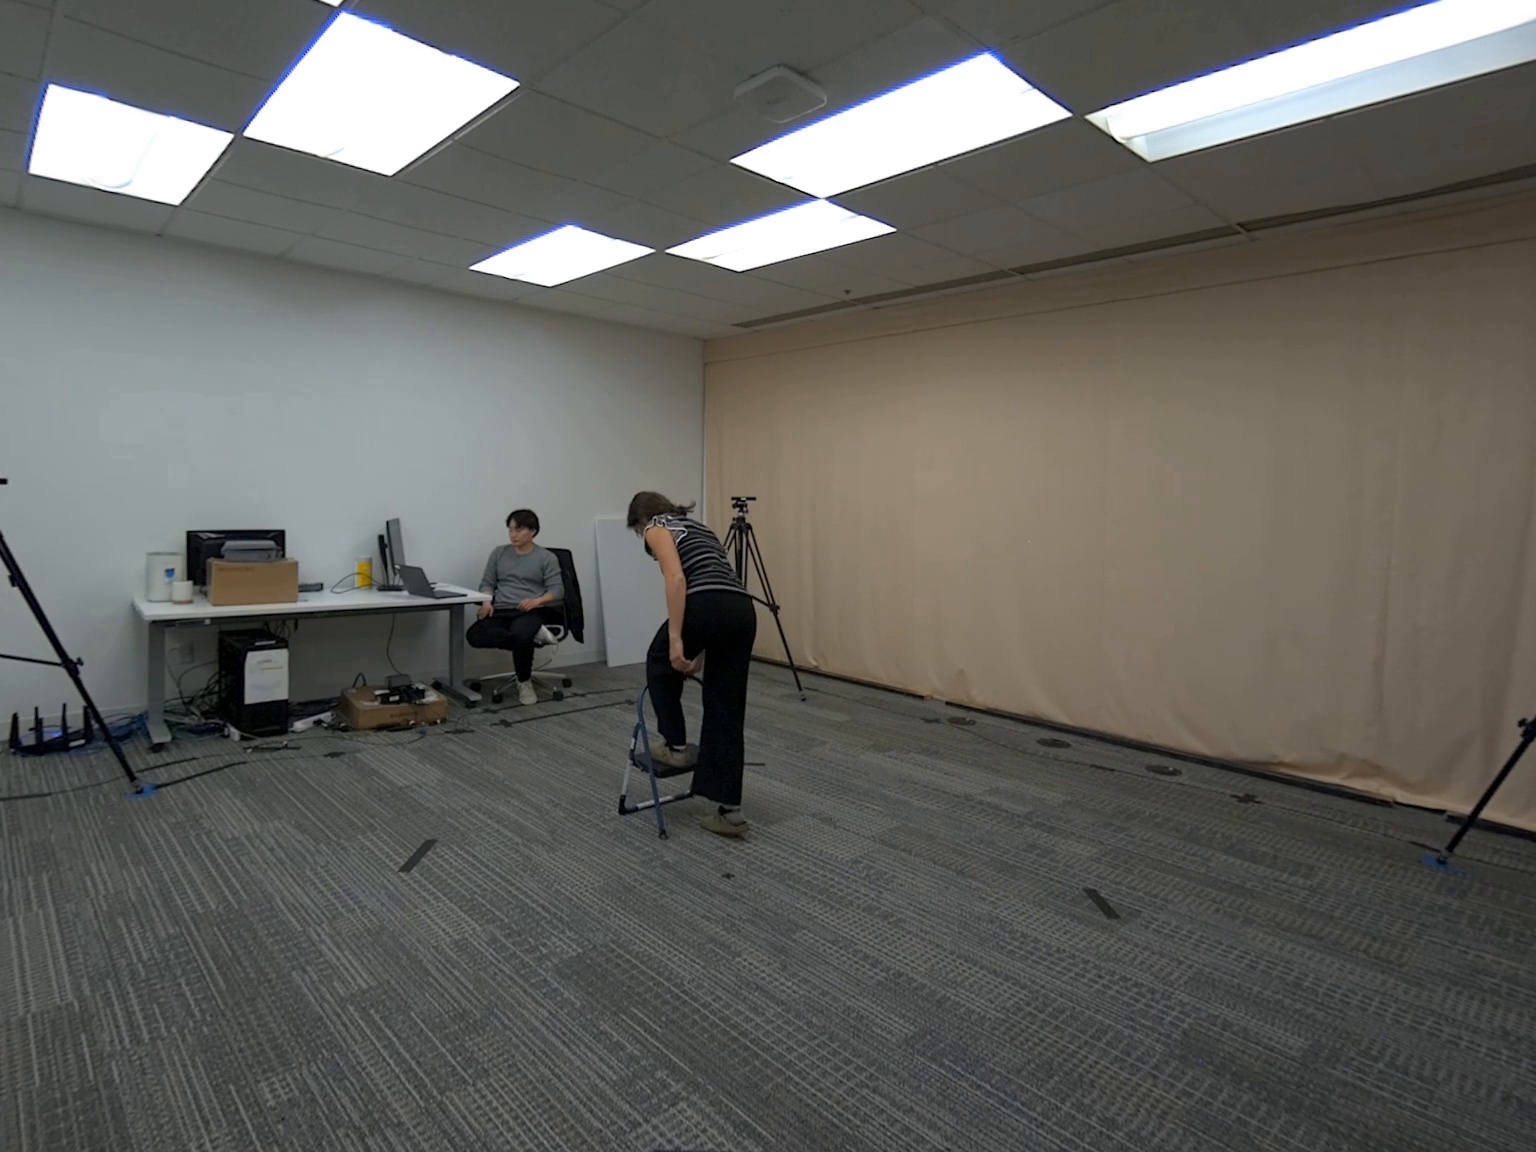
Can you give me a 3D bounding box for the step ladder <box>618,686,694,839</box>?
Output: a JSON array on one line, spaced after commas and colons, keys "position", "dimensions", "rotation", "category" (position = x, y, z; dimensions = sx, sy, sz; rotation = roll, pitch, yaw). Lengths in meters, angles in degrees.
[{"position": [-0.391, 0.751, 3.681], "dimensions": [0.420, 0.605, 0.358], "rotation": [-1, 4, -43], "category": "step ladder"}]
